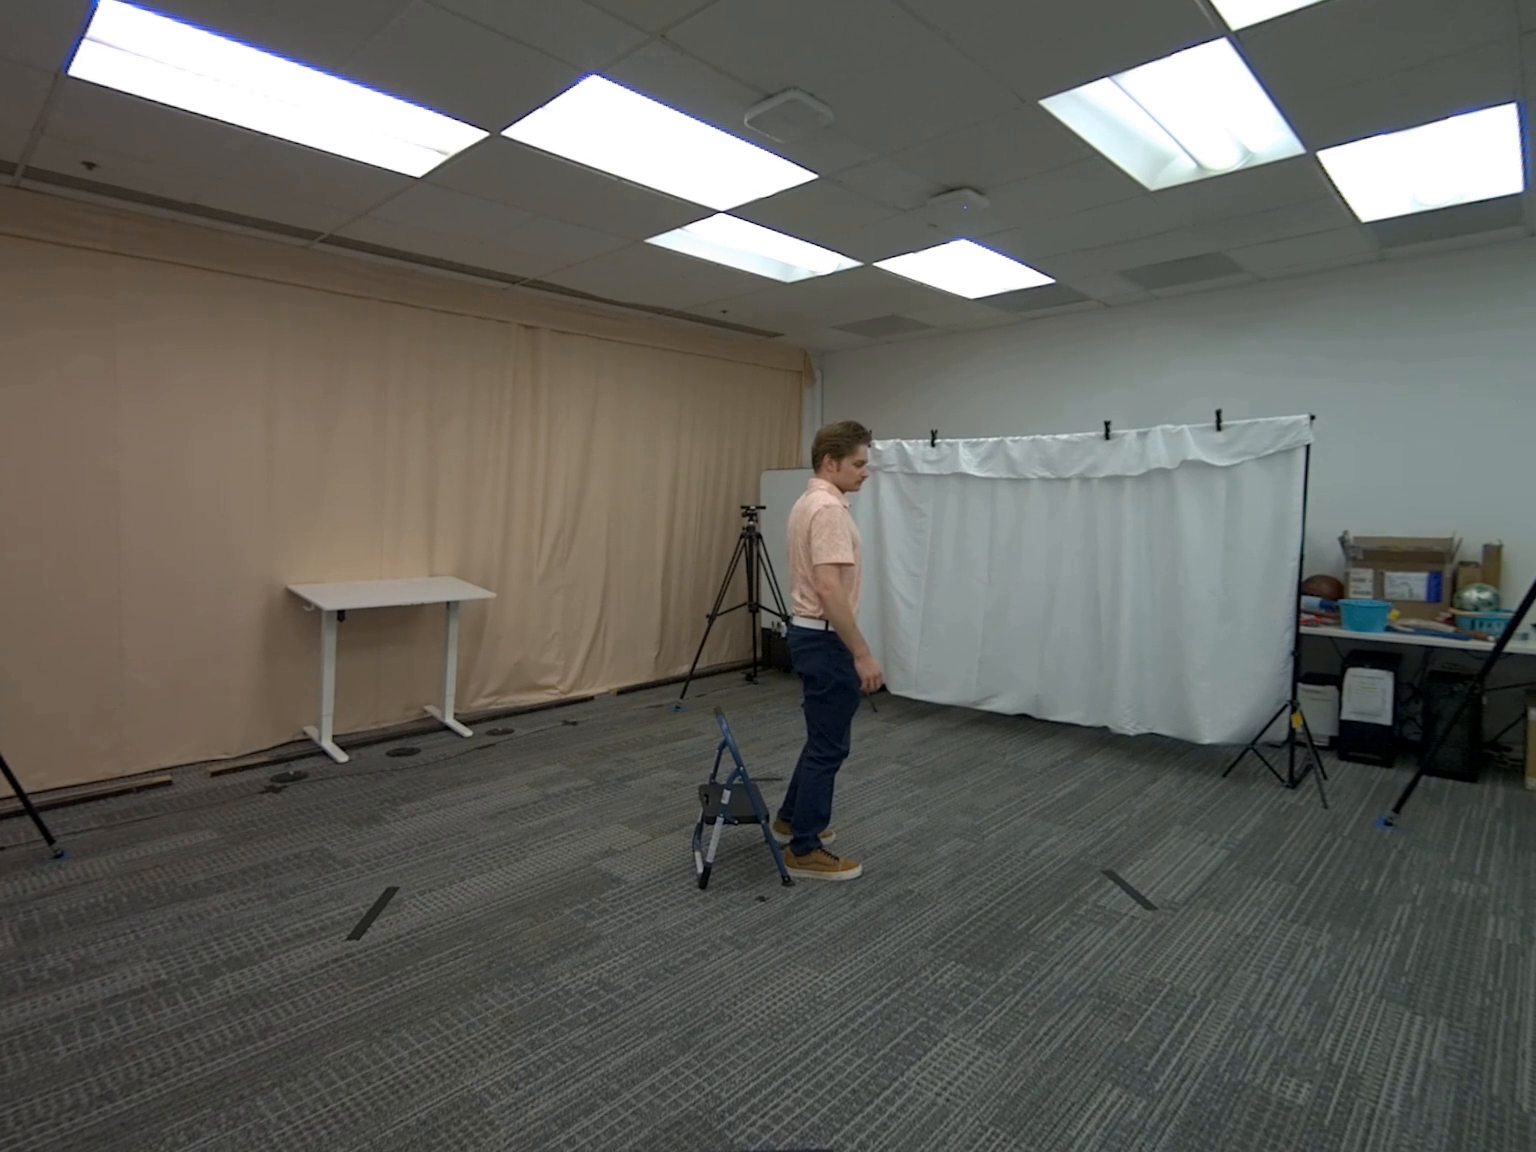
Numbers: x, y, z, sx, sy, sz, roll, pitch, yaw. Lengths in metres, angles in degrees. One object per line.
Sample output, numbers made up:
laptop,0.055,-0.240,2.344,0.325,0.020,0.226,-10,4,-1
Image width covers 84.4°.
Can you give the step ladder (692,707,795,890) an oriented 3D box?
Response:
step ladder,-0.110,0.824,3.263,0.346,0.605,0.435,0,2,-9
